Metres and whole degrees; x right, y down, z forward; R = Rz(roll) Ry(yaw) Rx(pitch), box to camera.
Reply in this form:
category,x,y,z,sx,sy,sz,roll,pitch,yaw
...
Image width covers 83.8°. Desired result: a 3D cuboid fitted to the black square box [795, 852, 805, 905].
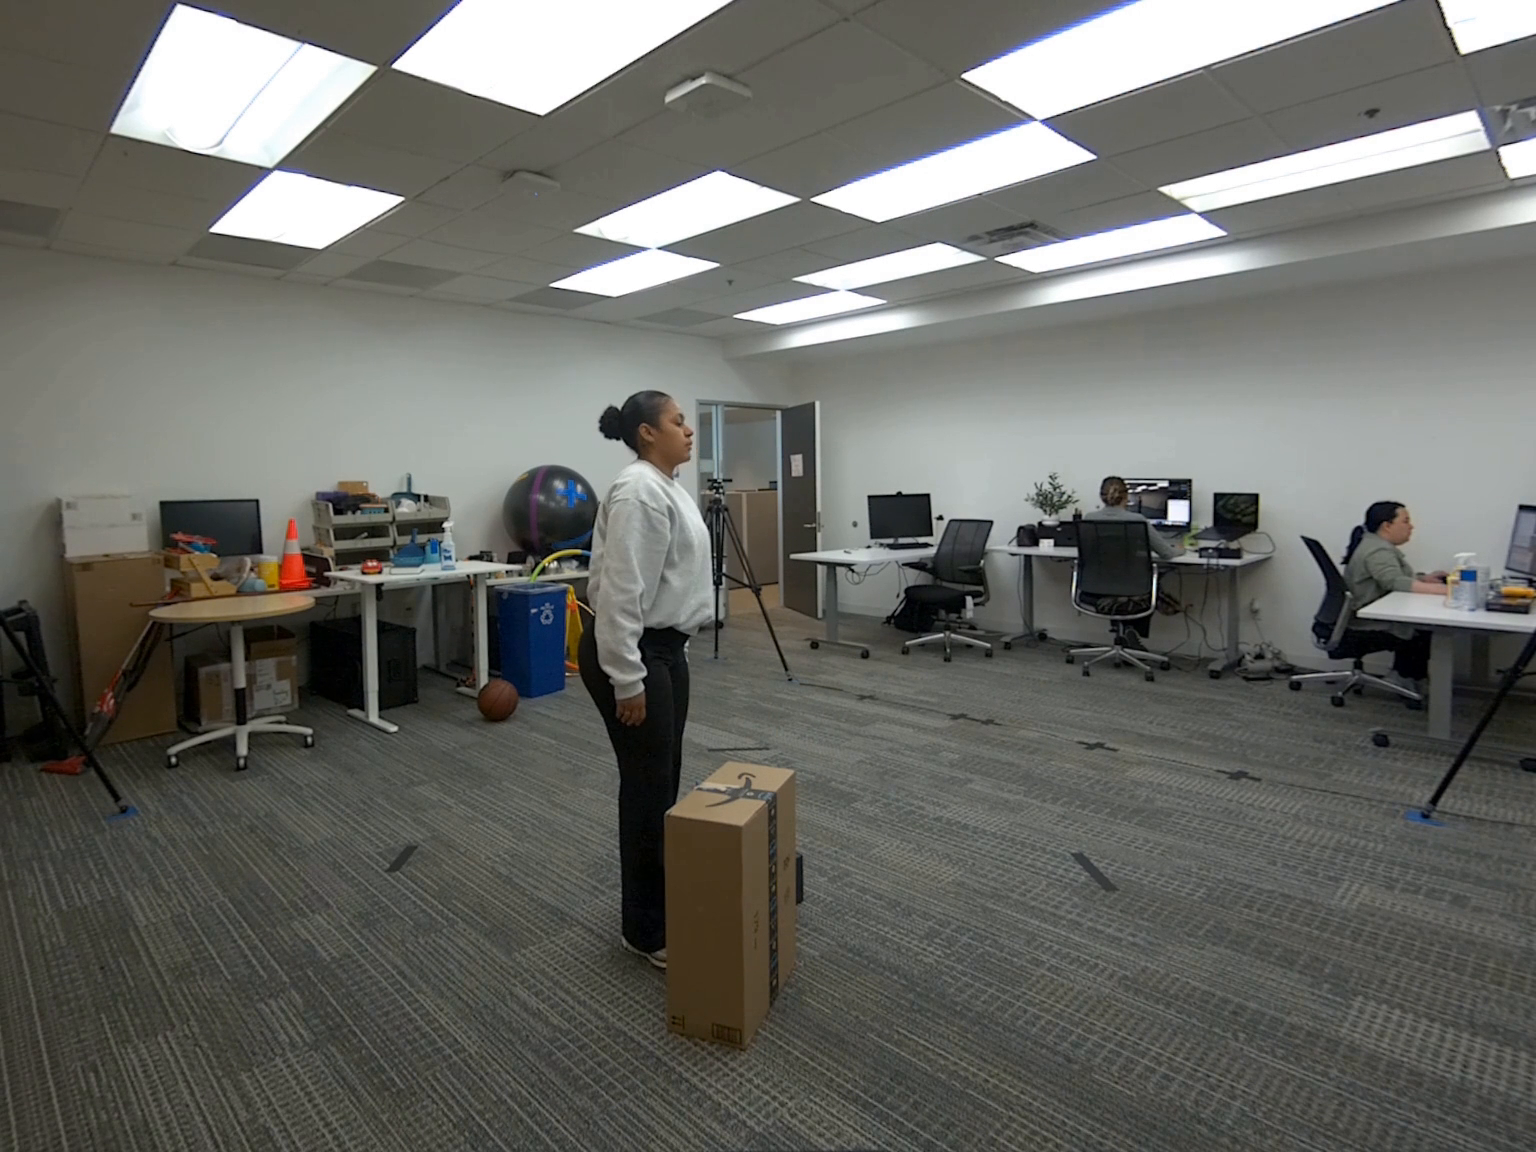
category,x,y,z,sx,sy,sz,roll,pitch,yaw
black square box,-0.027,0.997,2.834,0.222,0.155,0.224,-6,8,-38
